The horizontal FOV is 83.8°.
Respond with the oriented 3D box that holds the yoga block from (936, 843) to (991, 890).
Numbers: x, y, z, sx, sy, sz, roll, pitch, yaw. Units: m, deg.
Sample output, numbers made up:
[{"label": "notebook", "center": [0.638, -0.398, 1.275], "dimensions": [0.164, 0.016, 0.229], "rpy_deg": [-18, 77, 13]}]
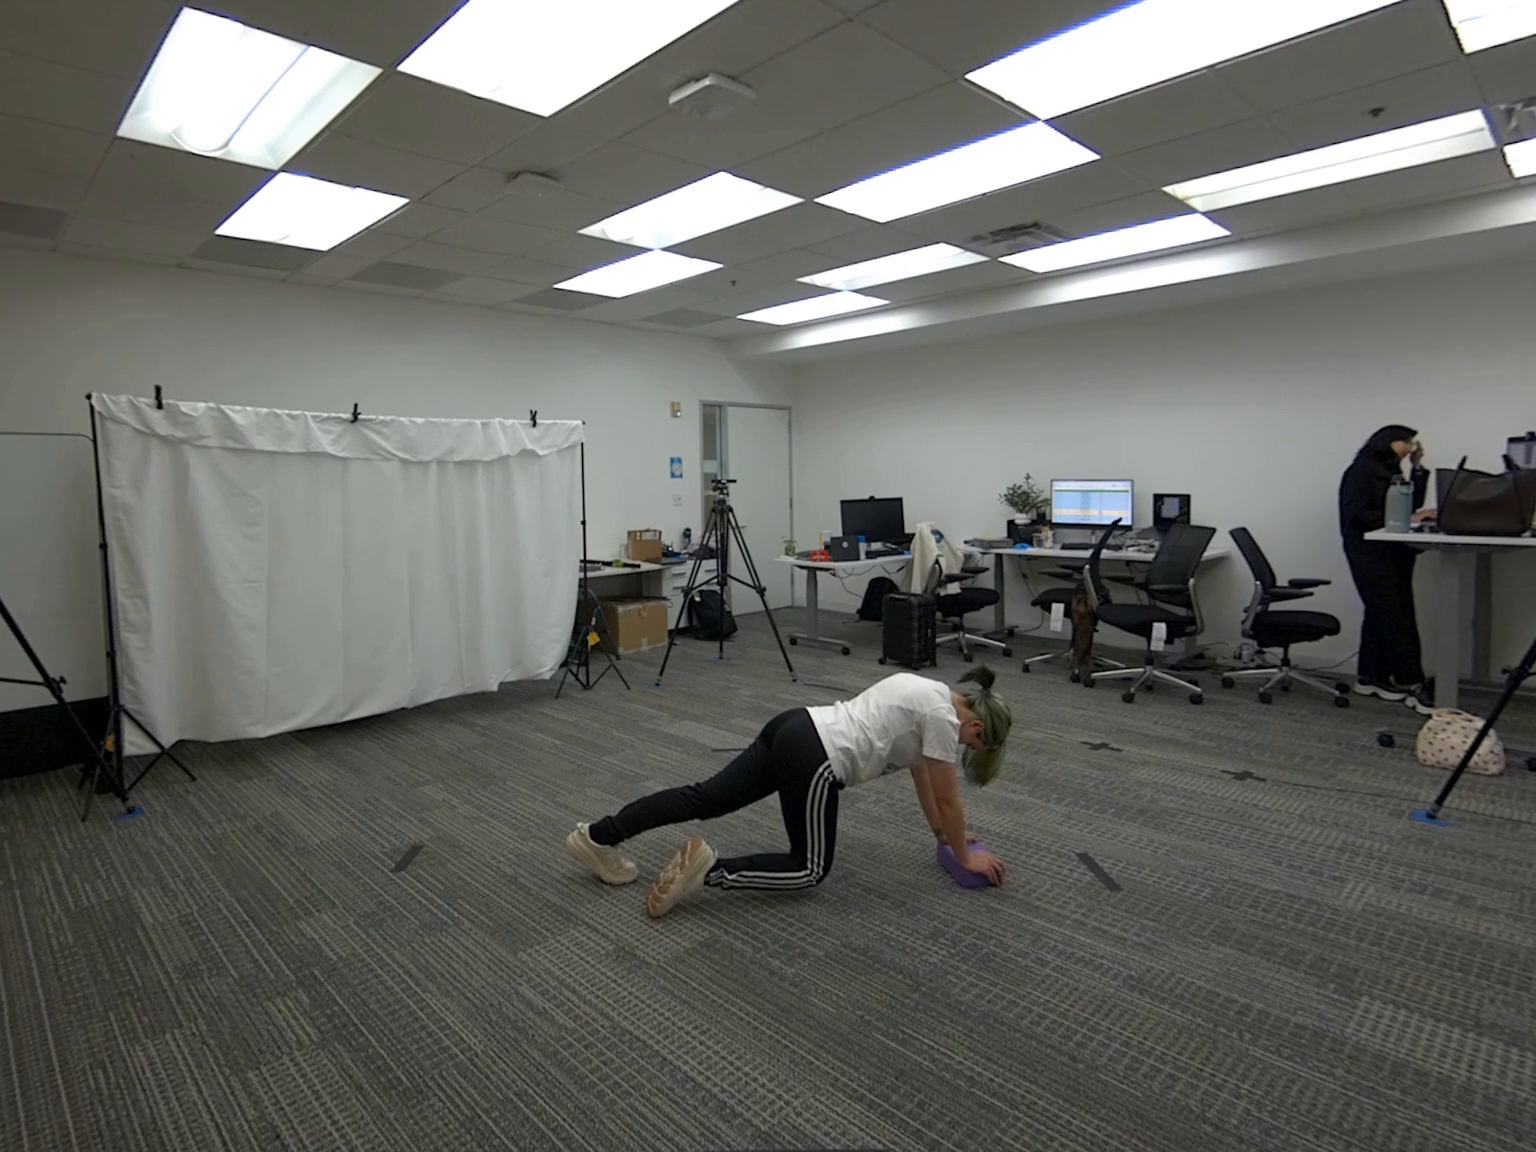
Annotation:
[{"label": "yoga block", "center": [0.705, 1.006, 3.006], "dimensions": [0.148, 0.076, 0.232], "rpy_deg": [-2, 5, -10]}]
